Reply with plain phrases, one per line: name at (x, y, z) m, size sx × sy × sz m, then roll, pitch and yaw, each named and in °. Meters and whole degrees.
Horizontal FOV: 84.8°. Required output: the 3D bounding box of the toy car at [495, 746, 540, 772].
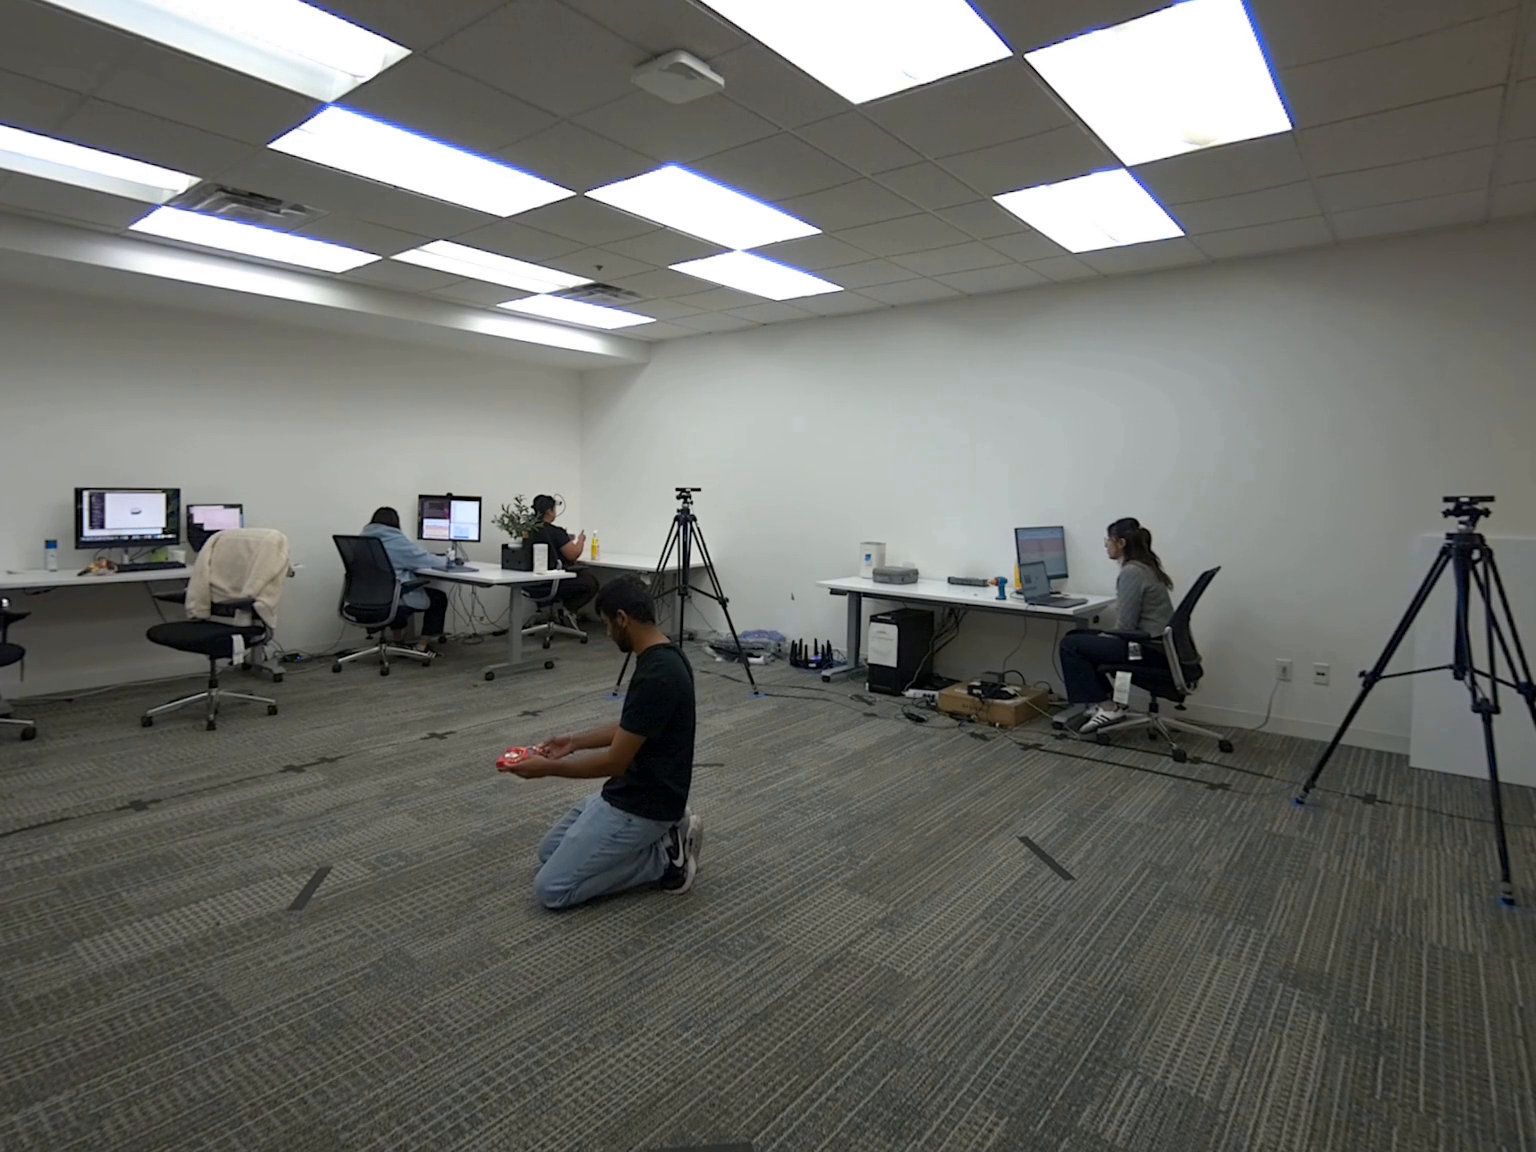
toy car at (-0.906, 0.661, 3.059) m, size 0.132 × 0.084 × 0.249 m, roll 0°, pitch -8°, yaw 11°
